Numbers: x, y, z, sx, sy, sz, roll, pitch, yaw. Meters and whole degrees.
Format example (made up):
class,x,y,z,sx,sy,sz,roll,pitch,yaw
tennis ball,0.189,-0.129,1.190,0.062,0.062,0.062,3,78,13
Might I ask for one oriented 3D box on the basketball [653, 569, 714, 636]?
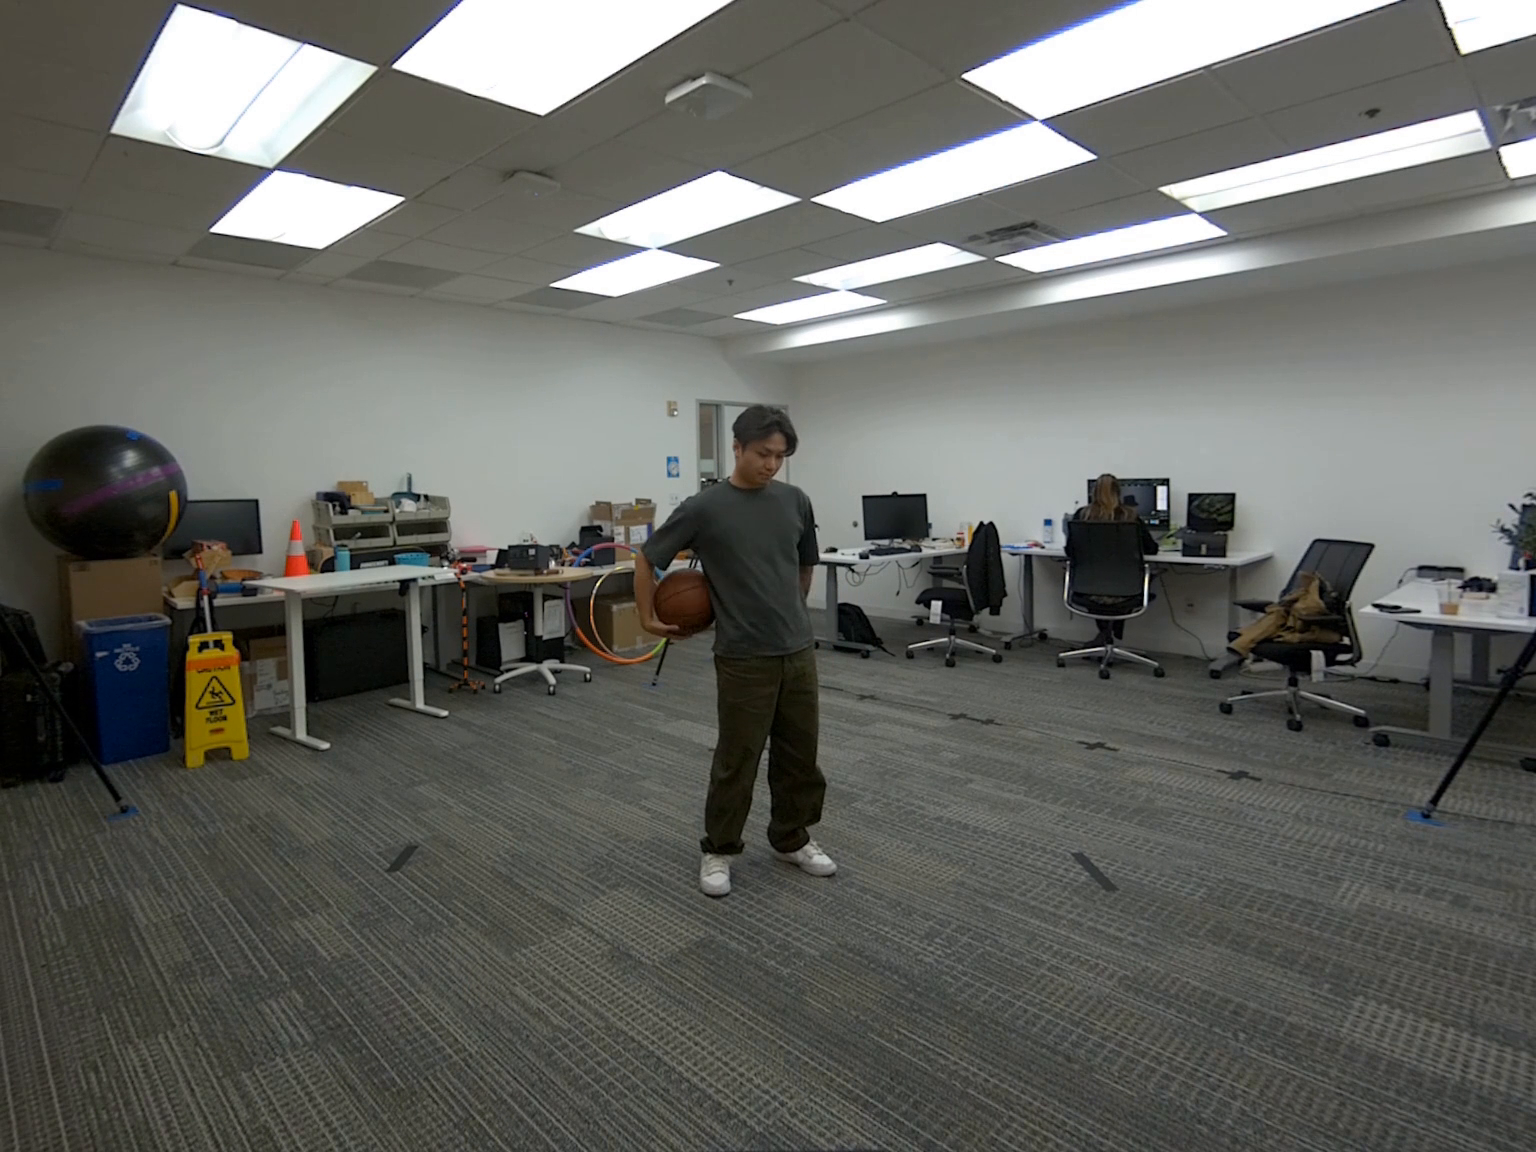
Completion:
class,x,y,z,sx,sy,sz,roll,pitch,yaw
basketball,-0.274,0.089,3.025,0.236,0.235,0.237,-1,5,-2
